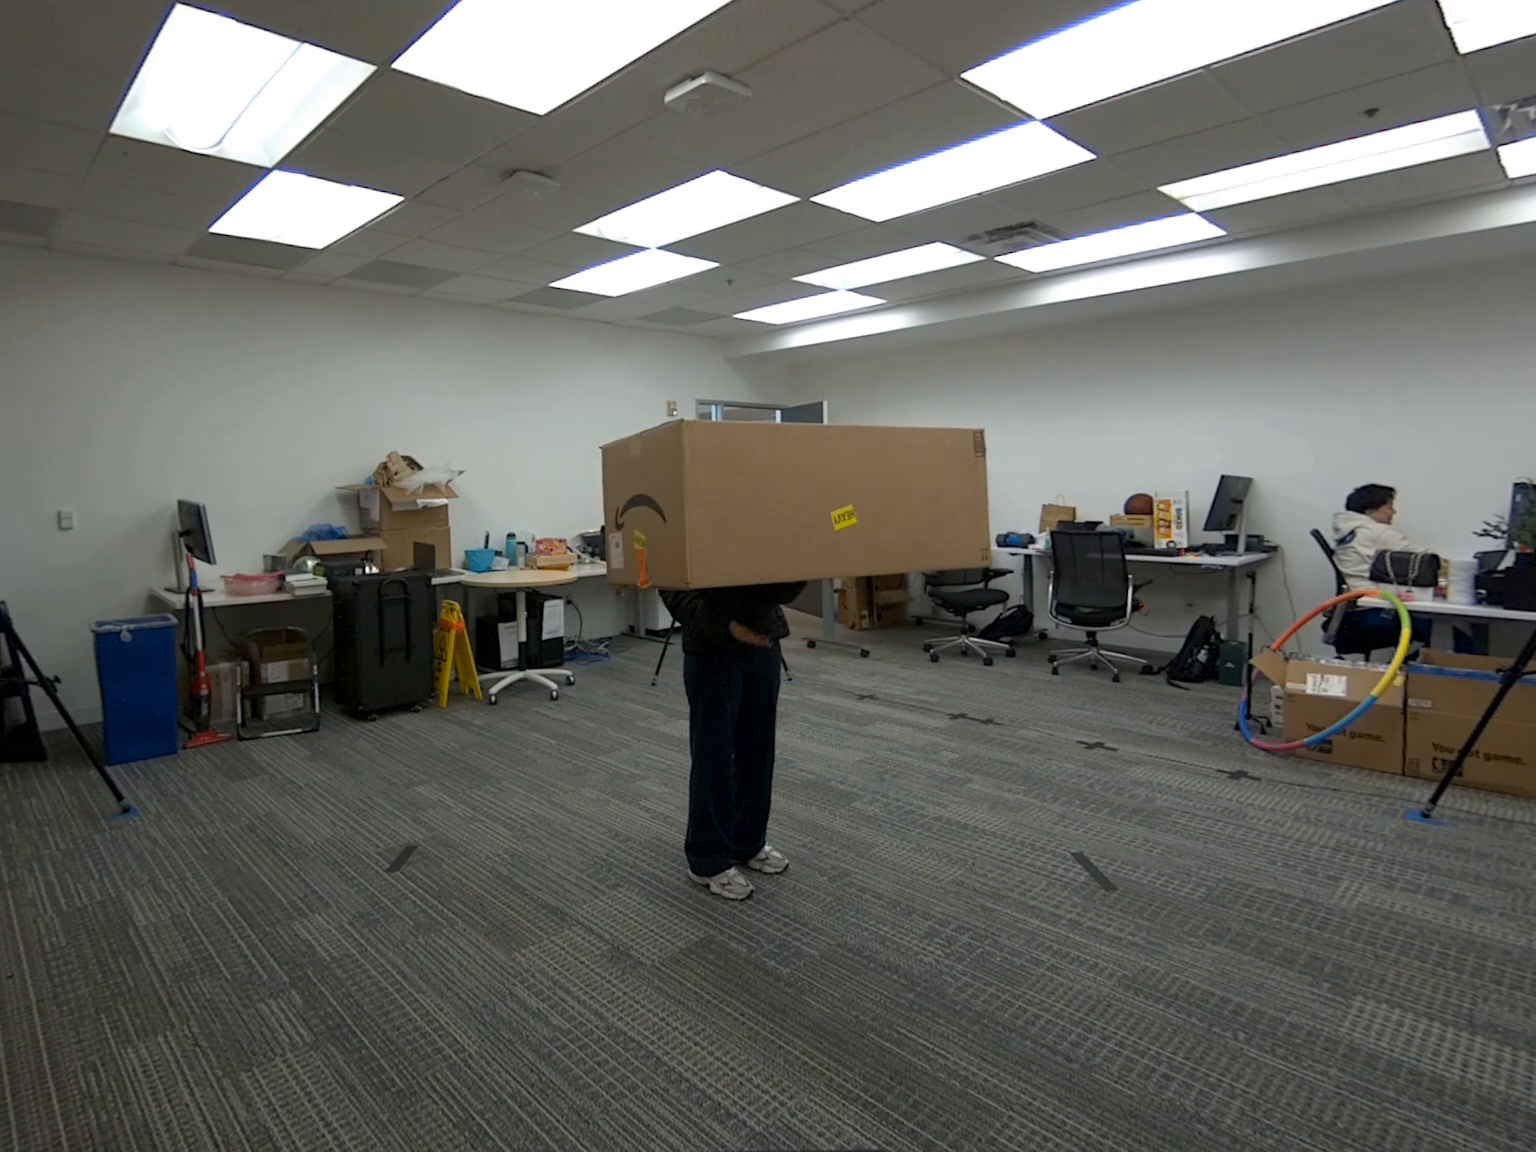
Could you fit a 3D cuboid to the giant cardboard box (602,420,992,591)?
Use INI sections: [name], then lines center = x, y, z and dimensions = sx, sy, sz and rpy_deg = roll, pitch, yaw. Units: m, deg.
[giant cardboard box]
center = 0.085, -0.205, 2.593
dimensions = 1.002, 0.426, 0.591
rpy_deg = -4, 1, -29
